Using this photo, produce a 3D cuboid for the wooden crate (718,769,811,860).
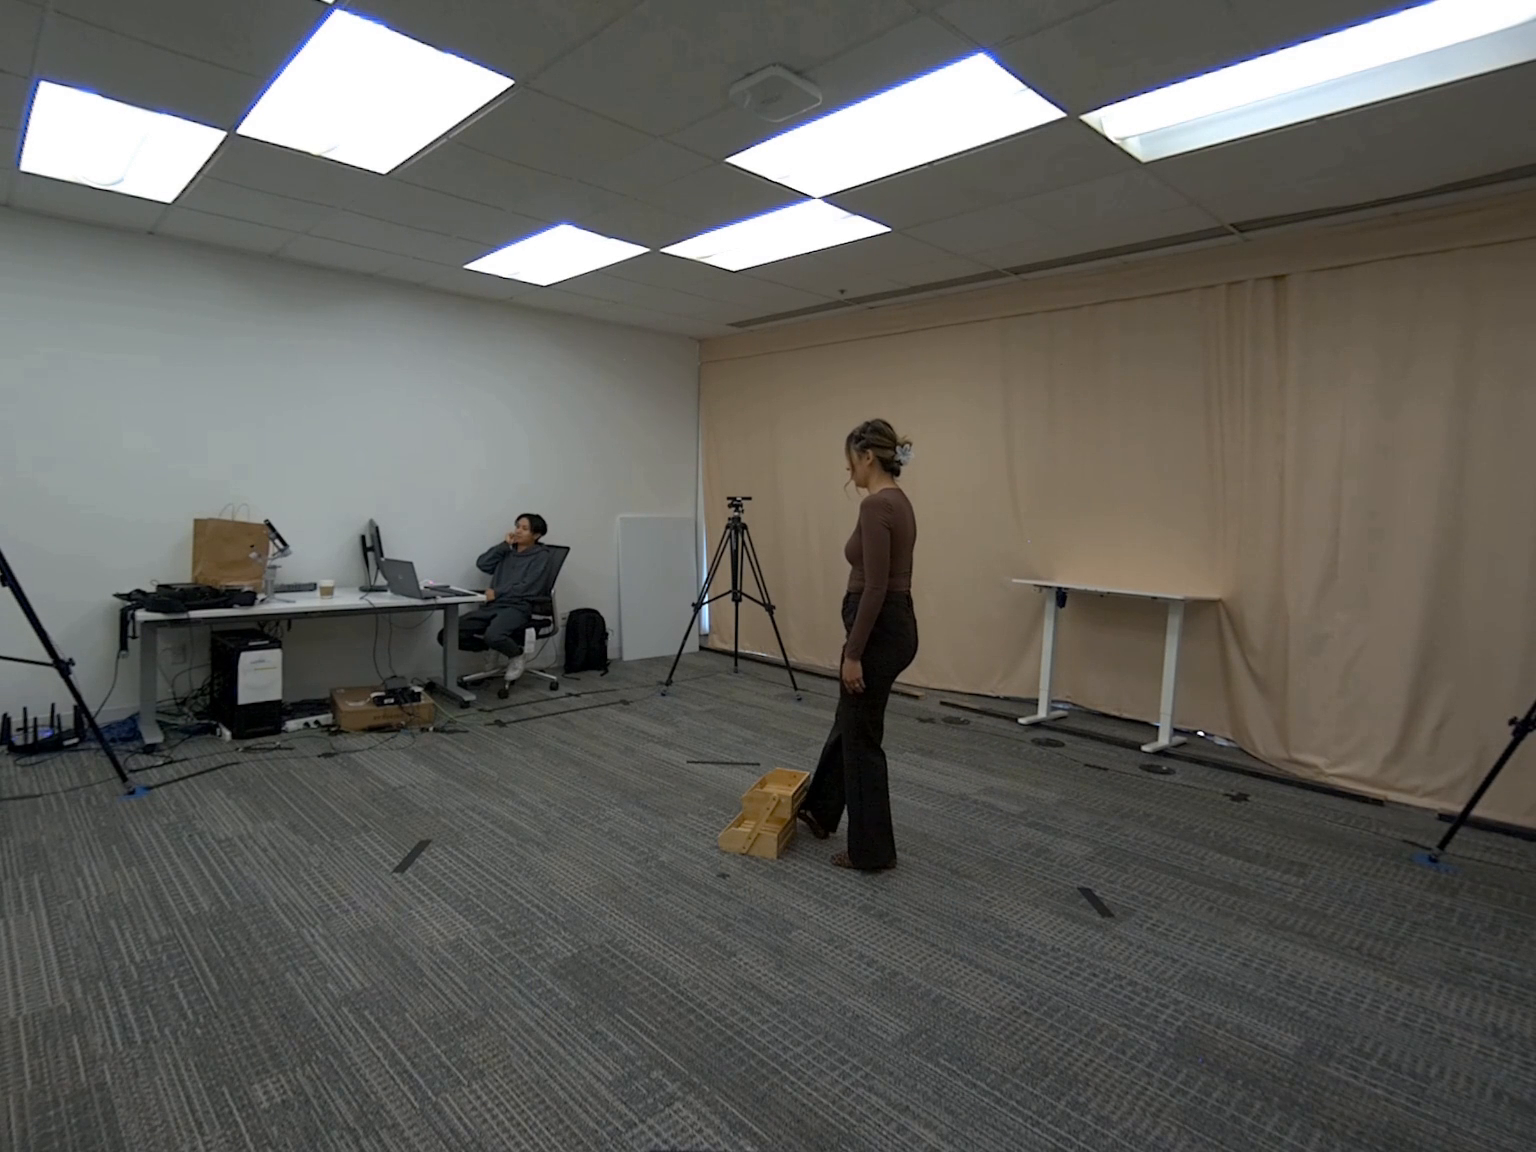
[{"bbox_3d":[-0.025,0.946,3.429,0.306,0.272,0.321,4,5,17],"label":"wooden crate"}]
